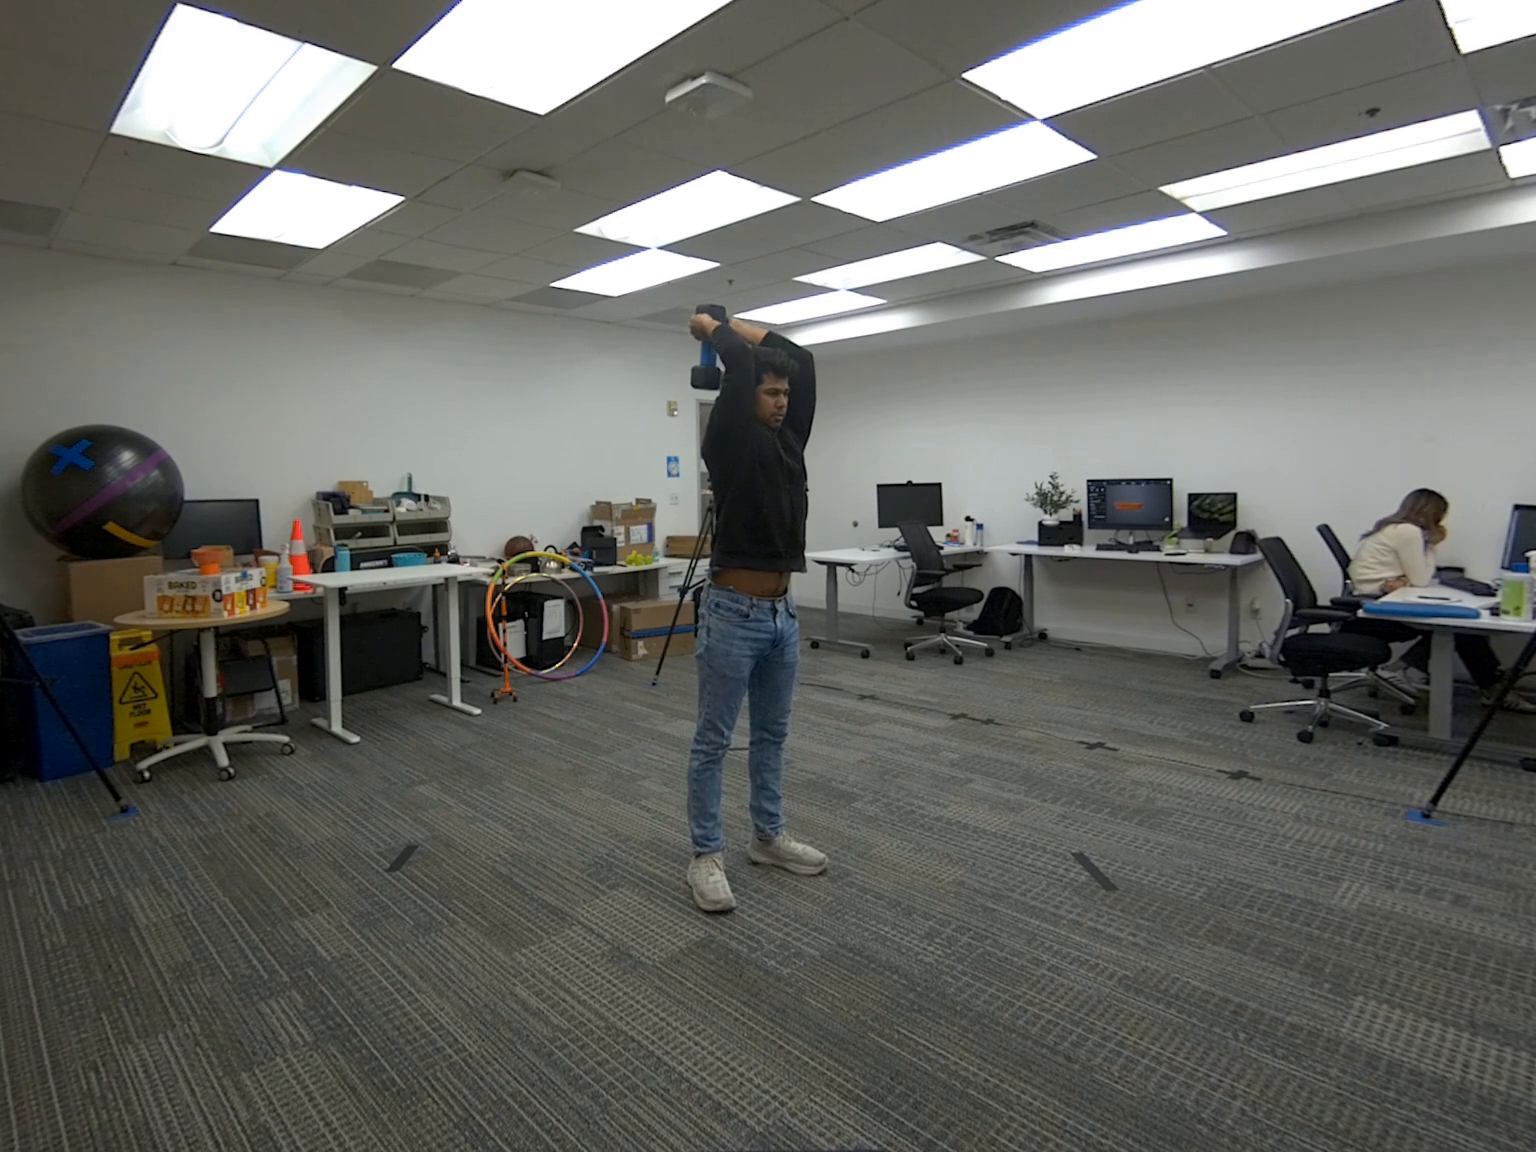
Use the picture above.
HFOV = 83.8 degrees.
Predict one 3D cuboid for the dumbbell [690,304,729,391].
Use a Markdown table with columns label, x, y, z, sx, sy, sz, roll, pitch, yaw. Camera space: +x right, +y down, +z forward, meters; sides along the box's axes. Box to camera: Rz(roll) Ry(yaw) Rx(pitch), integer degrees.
| label | x | y | z | sx | sy | sz | roll | pitch | yaw |
| --- | --- | --- | --- | --- | --- | --- | --- | --- | --- |
| dumbbell | -0.197 | -0.806 | 3.023 | 0.120 | 0.293 | 0.112 | 6 | 3 | -29 |
